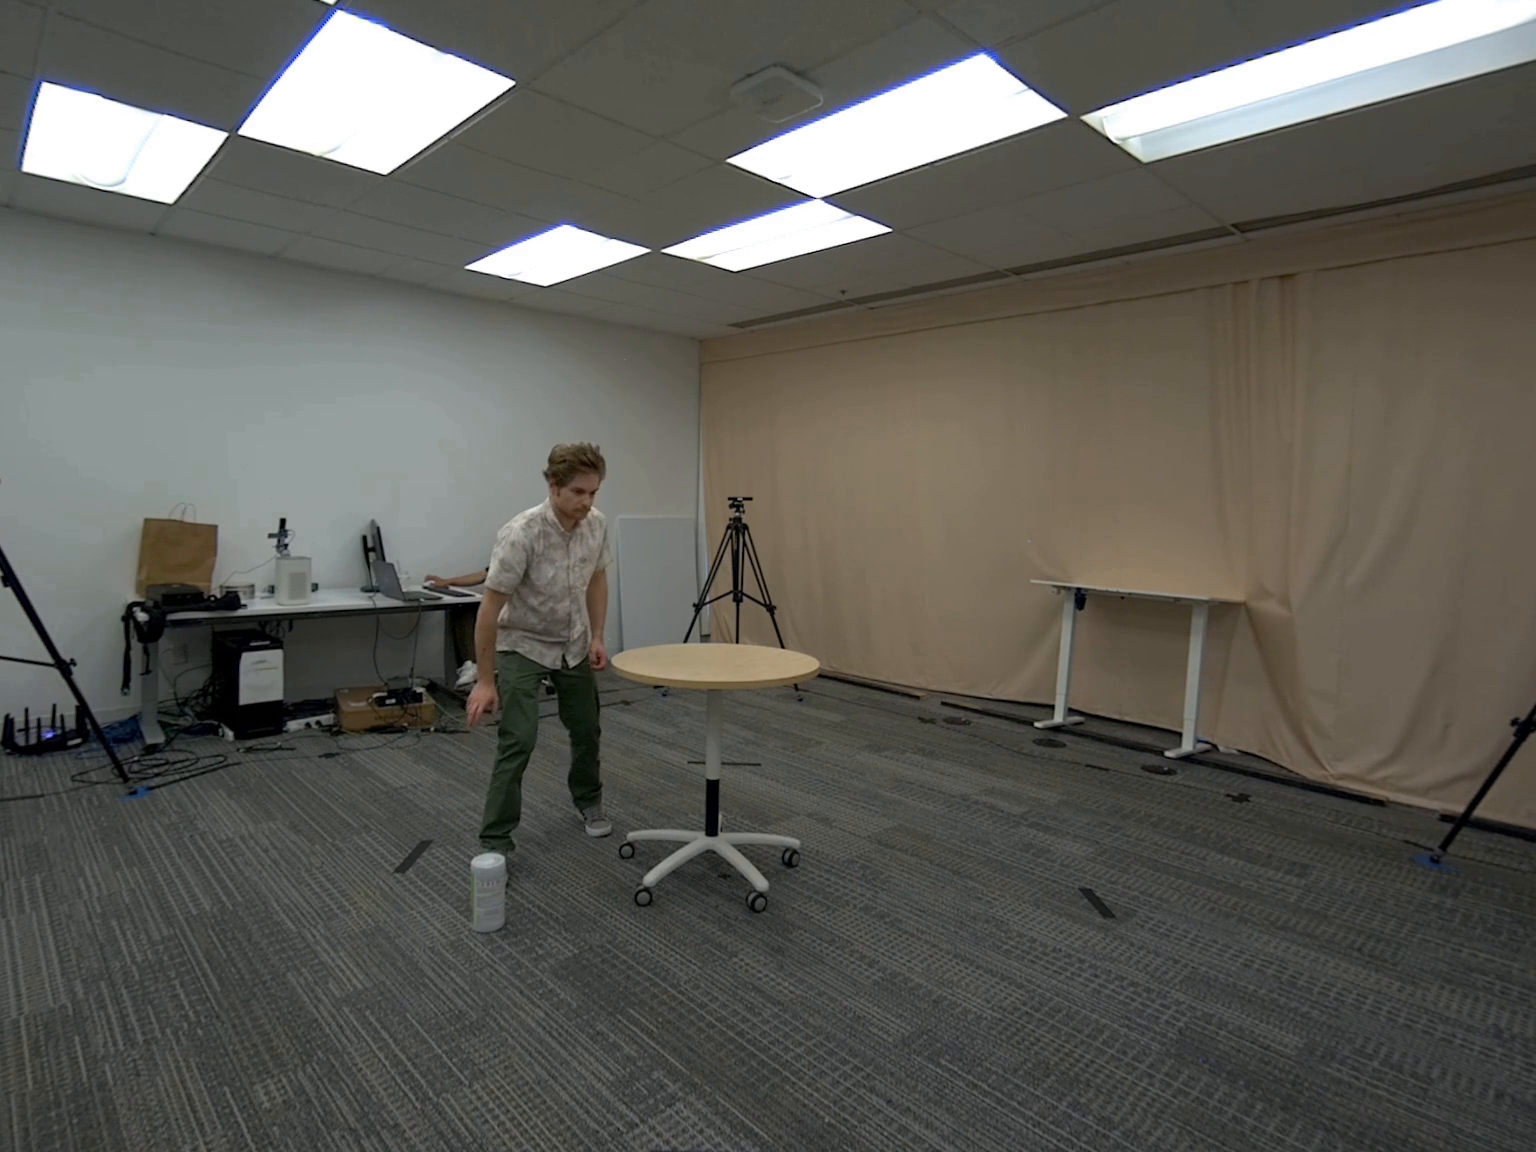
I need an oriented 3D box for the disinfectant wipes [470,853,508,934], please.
[{"bbox_3d":[-0.918,1.021,2.704,0.118,0.217,0.118,1,5,-1],"label":"disinfectant wipes"}]
